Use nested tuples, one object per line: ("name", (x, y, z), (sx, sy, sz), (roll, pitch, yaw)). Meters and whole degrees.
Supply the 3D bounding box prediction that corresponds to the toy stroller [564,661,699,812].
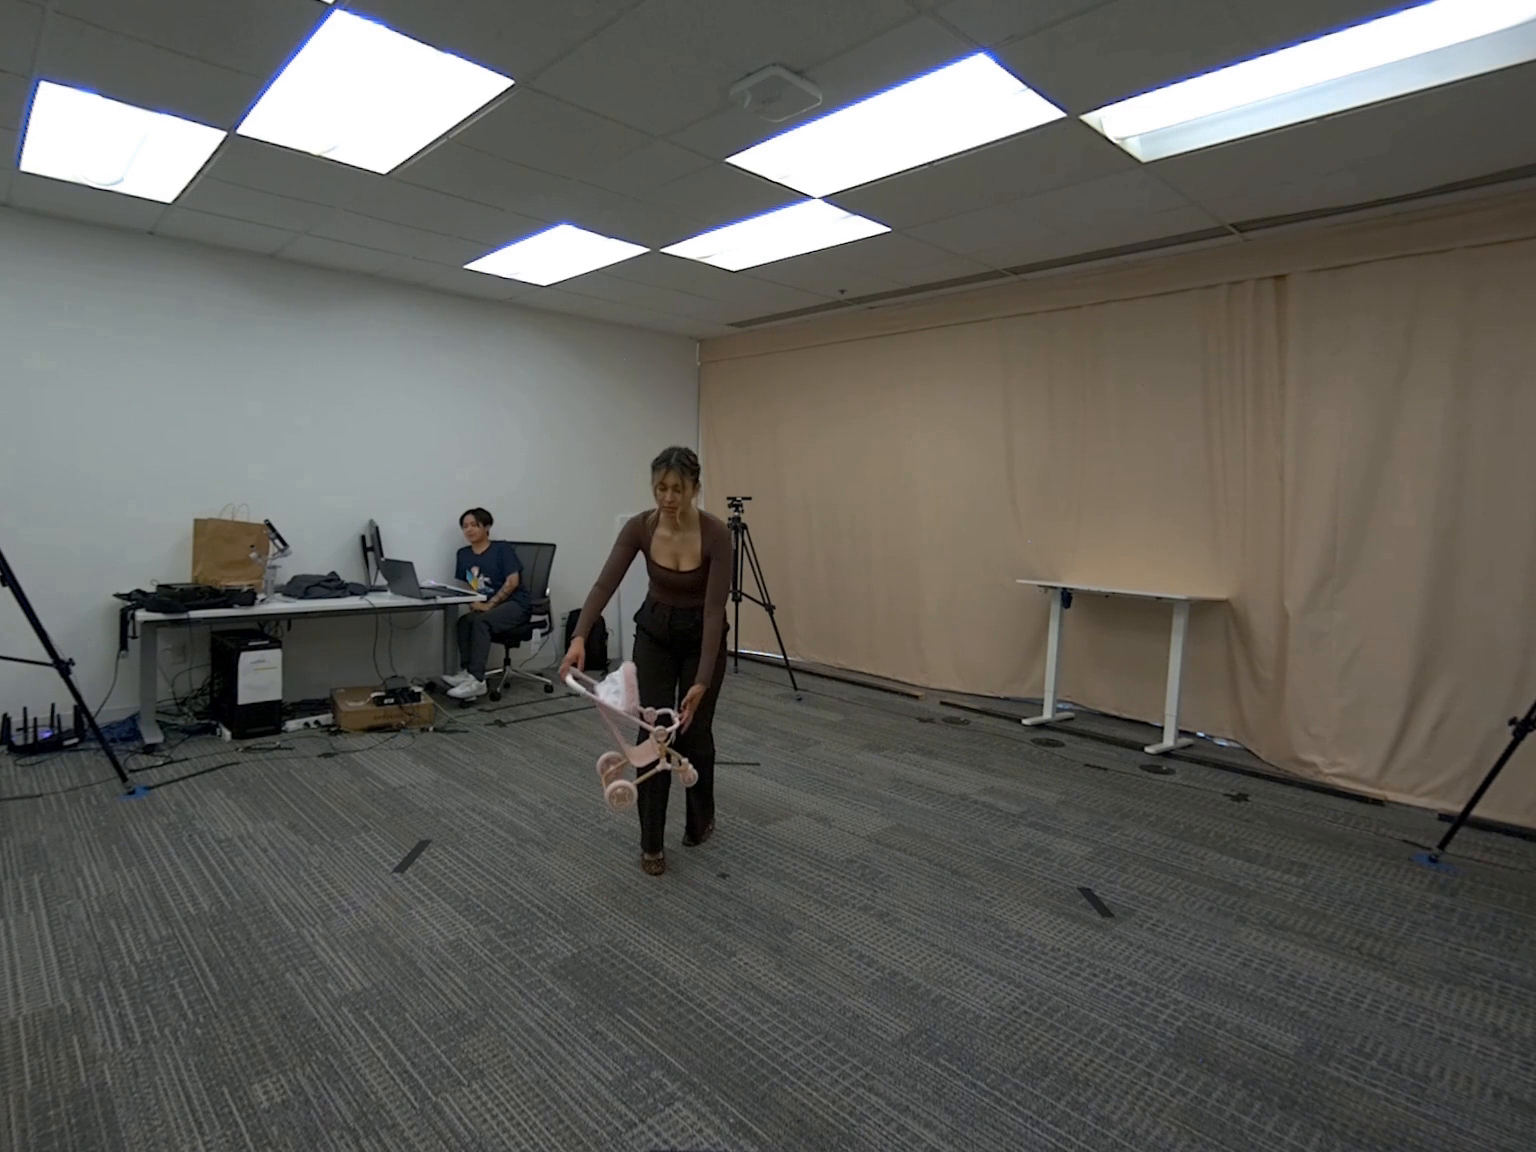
("toy stroller", (-0.460, 0.526, 2.878), (0.340, 0.530, 0.285), (-17, 11, -7))
